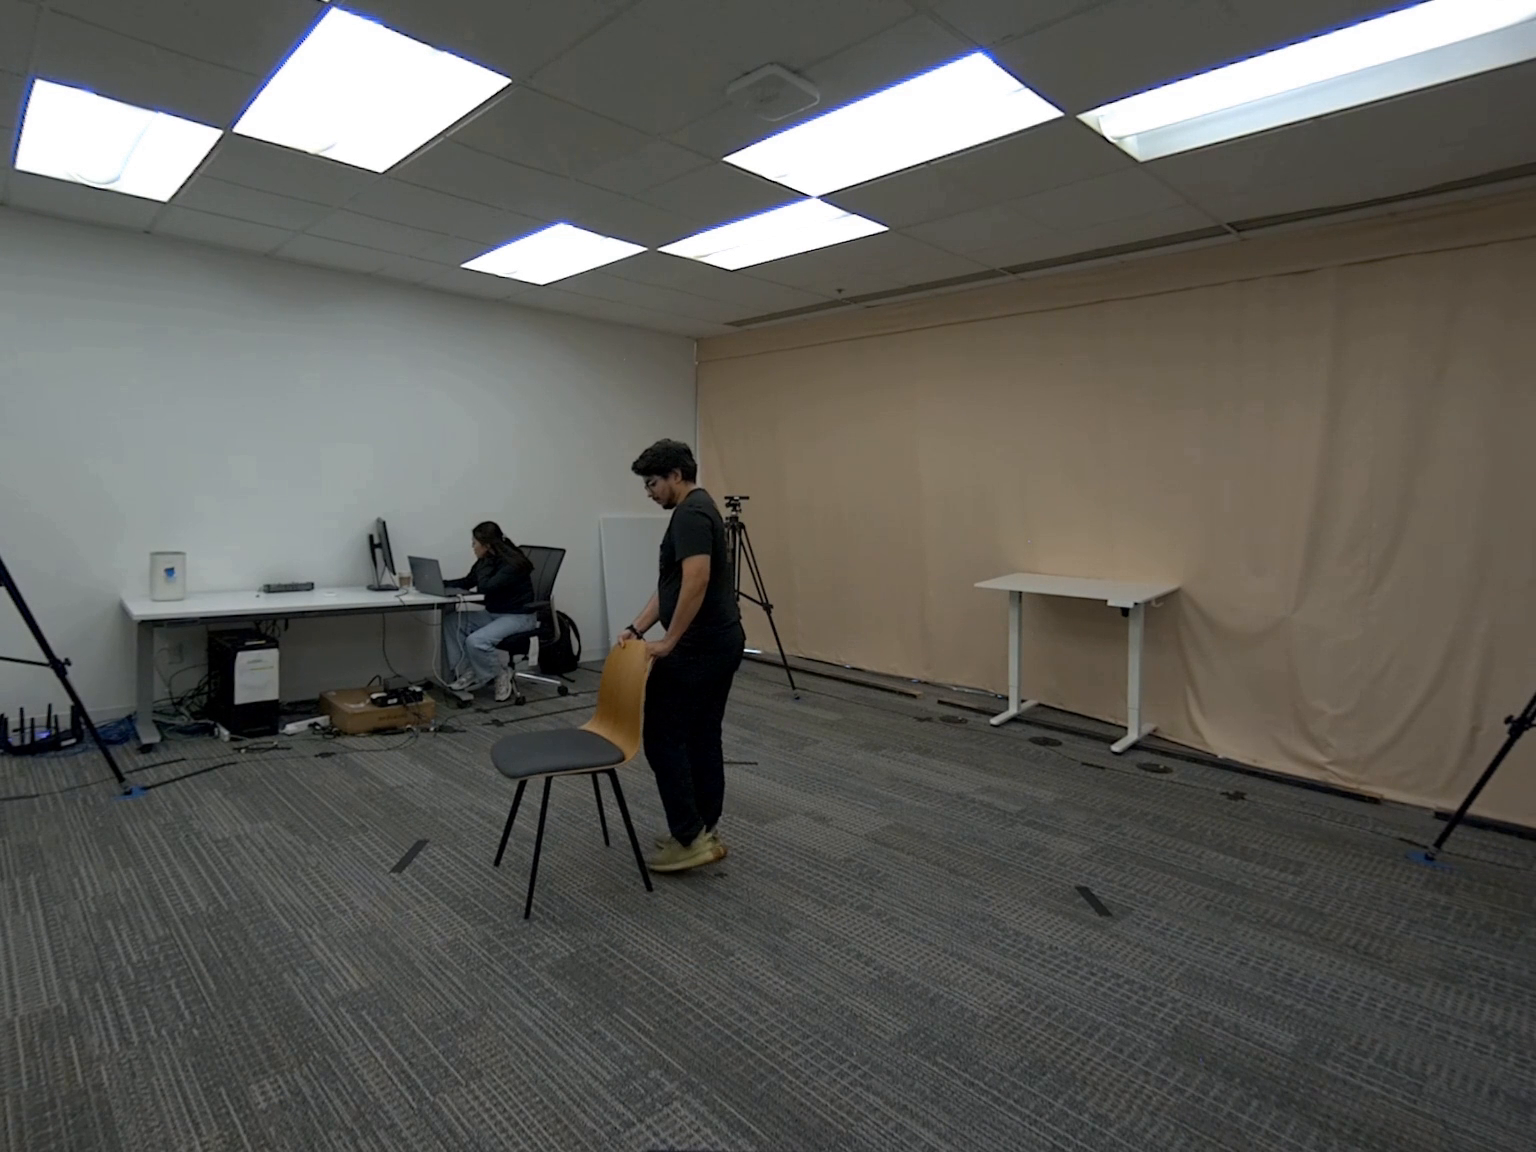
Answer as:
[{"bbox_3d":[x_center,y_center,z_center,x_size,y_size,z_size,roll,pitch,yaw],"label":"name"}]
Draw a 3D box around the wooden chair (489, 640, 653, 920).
[{"bbox_3d":[-0.717,0.674,3.006,0.512,0.876,0.489,4,2,-30],"label":"wooden chair"}]
